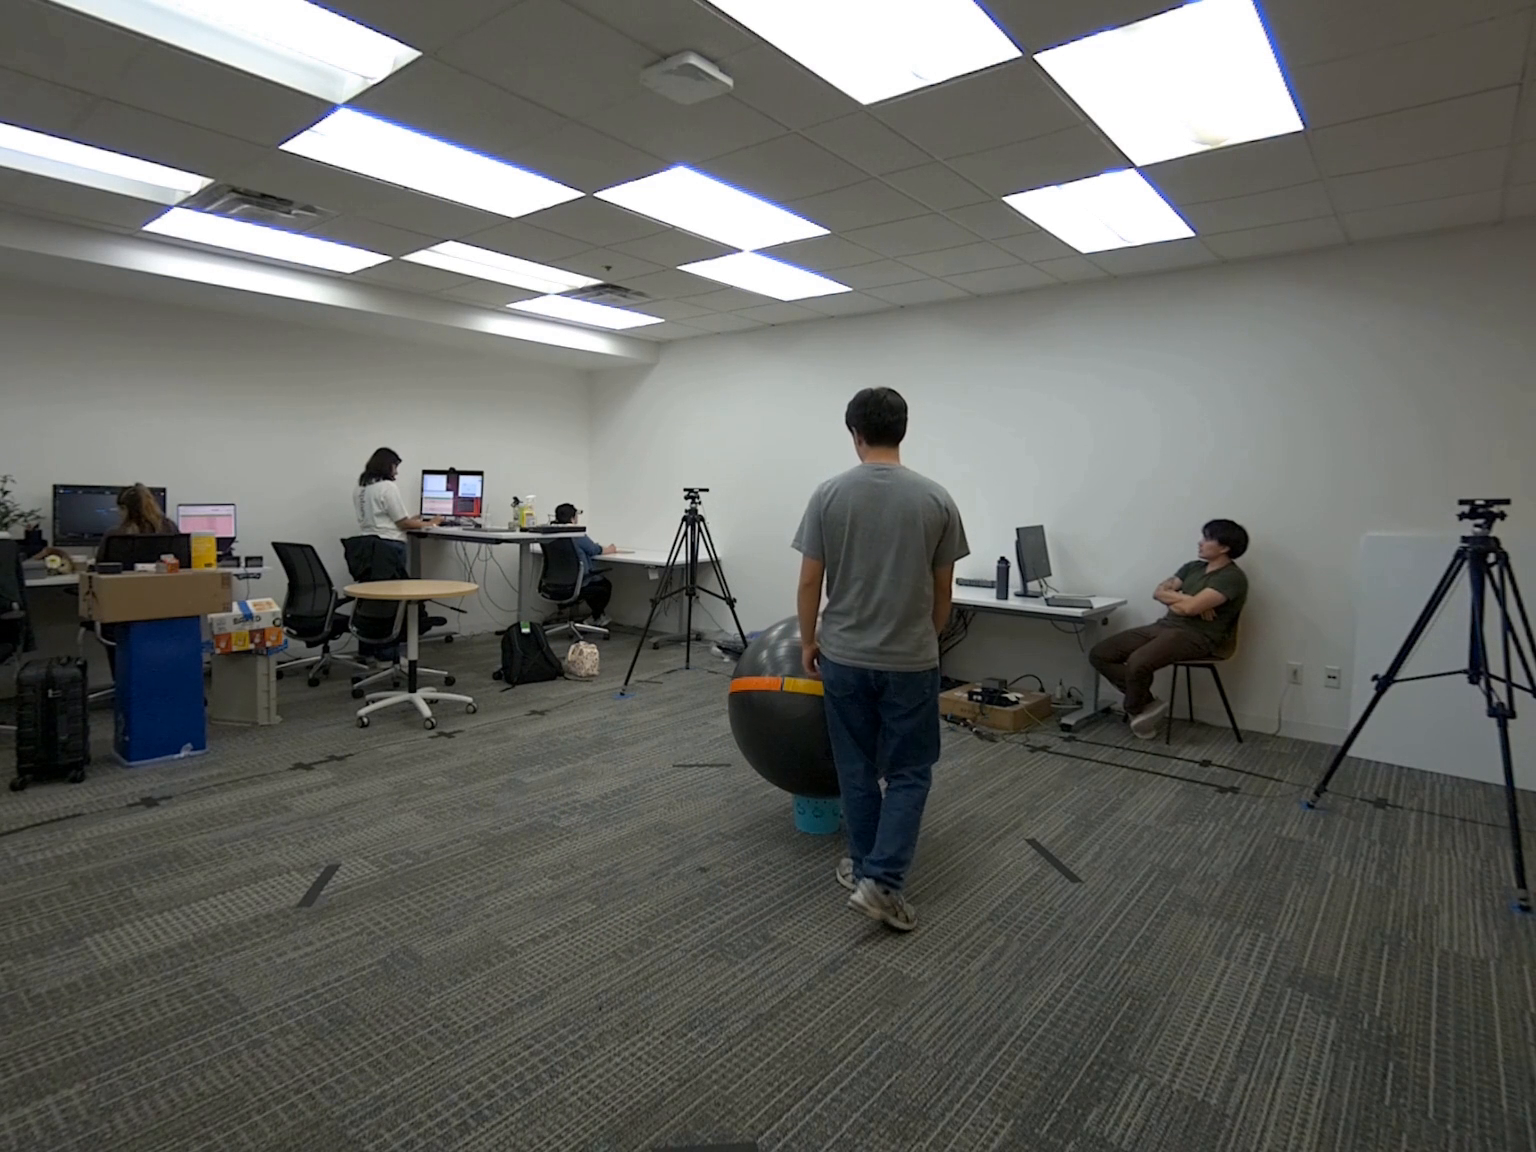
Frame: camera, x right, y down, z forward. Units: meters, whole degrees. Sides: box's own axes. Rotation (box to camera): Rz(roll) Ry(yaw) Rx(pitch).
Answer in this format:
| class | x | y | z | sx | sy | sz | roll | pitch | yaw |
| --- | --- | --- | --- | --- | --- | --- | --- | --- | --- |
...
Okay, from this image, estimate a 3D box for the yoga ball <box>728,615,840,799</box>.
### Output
| class | x | y | z | sx | sy | sz | roll | pitch | yaw |
| --- | --- | --- | --- | --- | --- | --- | --- | --- | --- |
| yoga ball | 0.200 | 0.528 | 3.532 | 0.757 | 0.755 | 0.762 | 1 | 4 | -2 |
